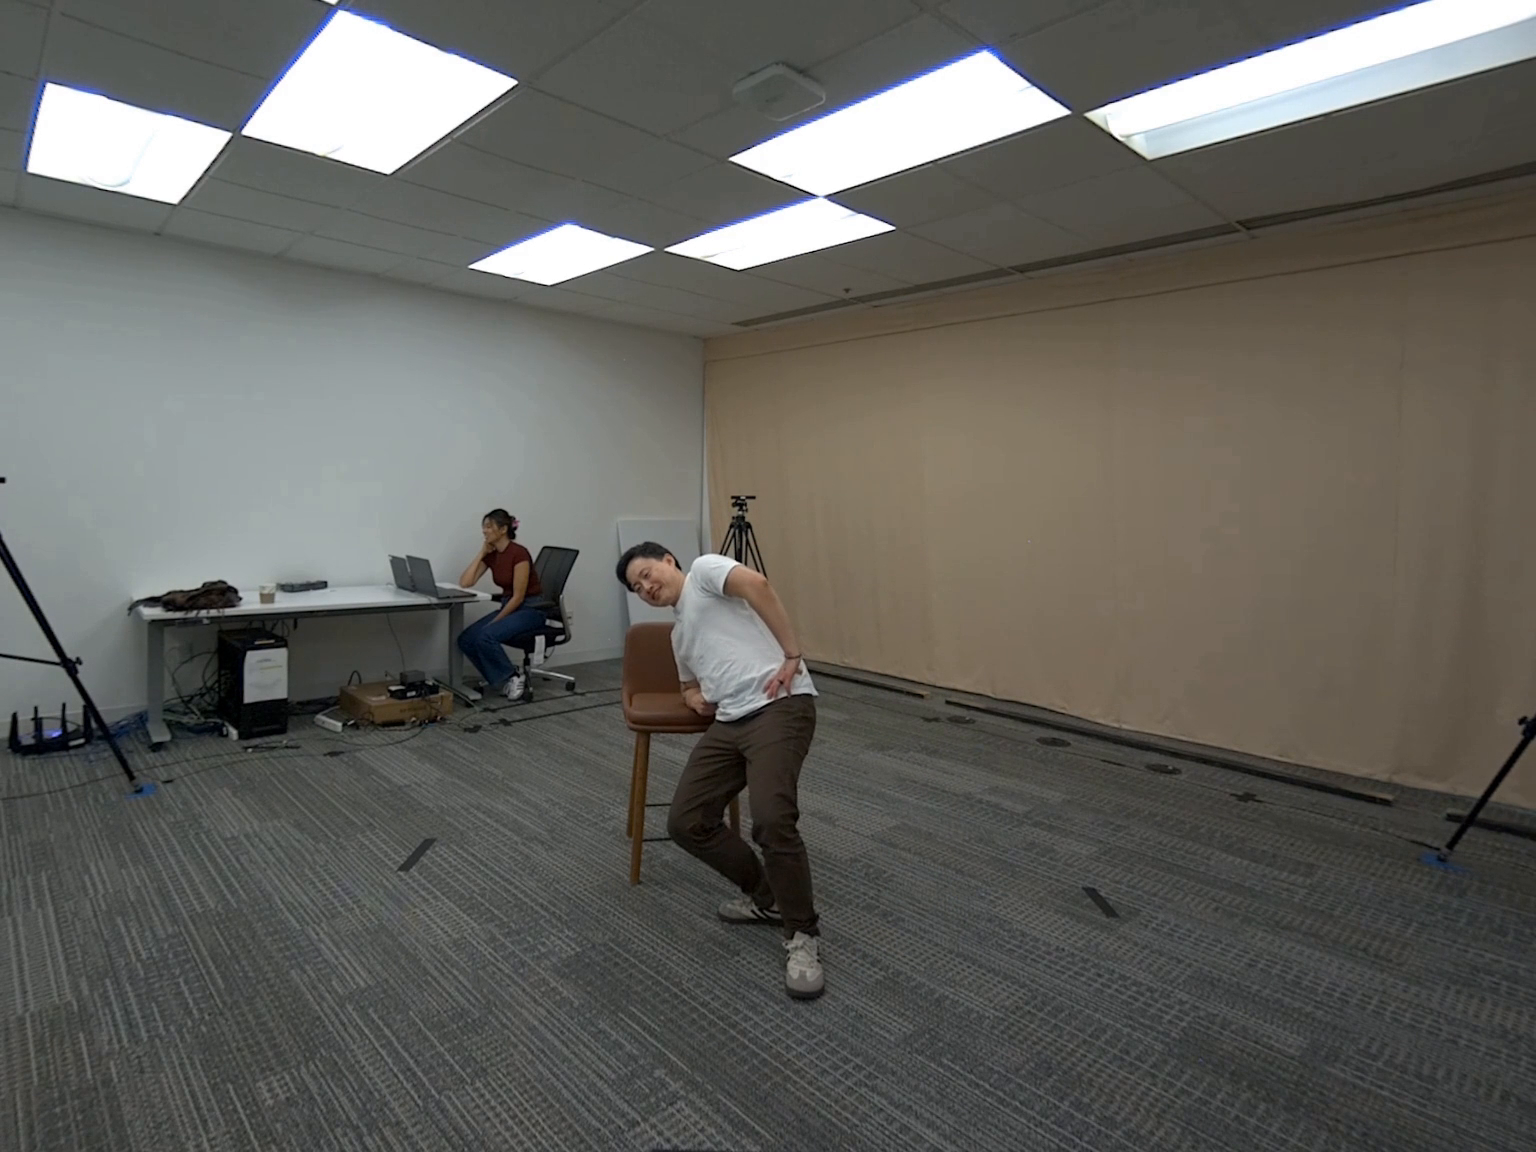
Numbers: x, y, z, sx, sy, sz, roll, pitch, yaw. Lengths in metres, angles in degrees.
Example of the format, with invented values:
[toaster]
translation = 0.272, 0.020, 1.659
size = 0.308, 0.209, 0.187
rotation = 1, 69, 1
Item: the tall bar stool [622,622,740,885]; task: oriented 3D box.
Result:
[tall bar stool]
translation = -0.343, 0.650, 3.243
size = 0.452, 0.888, 0.473
rotation = 1, 2, -13
